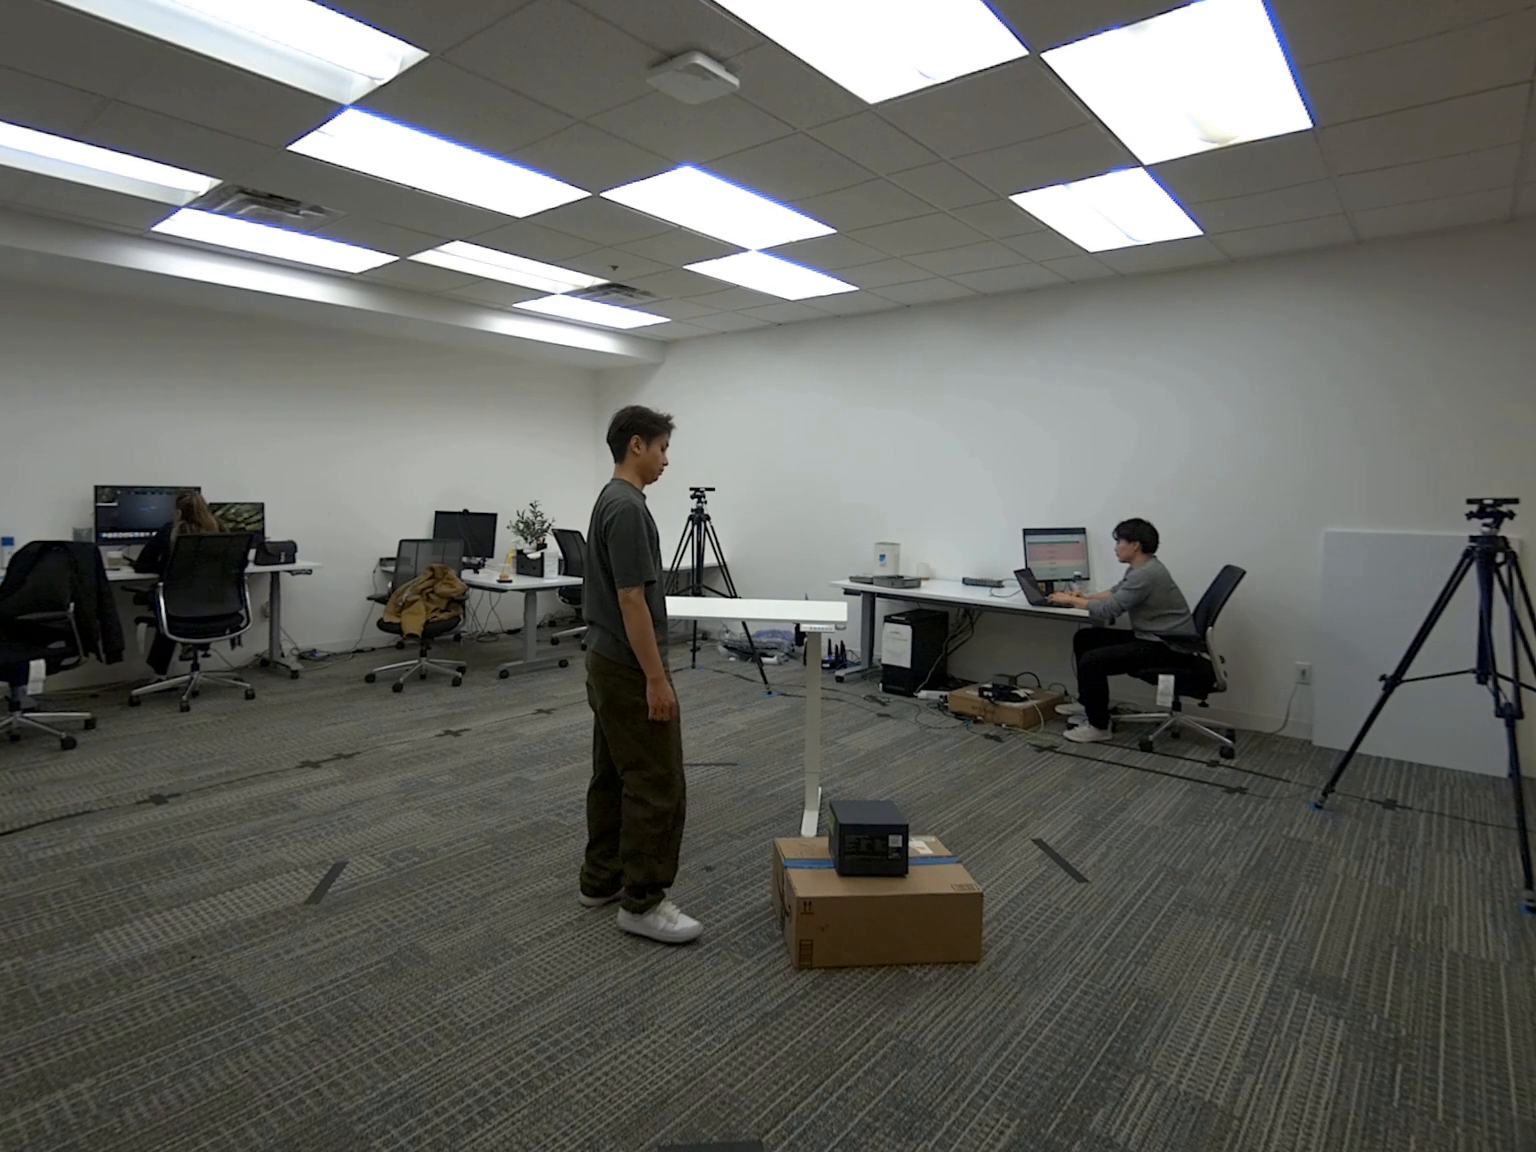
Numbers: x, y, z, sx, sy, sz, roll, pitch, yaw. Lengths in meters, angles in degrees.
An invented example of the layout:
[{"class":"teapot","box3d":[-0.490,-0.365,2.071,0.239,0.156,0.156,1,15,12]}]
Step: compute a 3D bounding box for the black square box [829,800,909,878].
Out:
[{"class":"black square box","box3d":[0.306,0.818,2.688,0.216,0.155,0.229,1,3,-3]}]
